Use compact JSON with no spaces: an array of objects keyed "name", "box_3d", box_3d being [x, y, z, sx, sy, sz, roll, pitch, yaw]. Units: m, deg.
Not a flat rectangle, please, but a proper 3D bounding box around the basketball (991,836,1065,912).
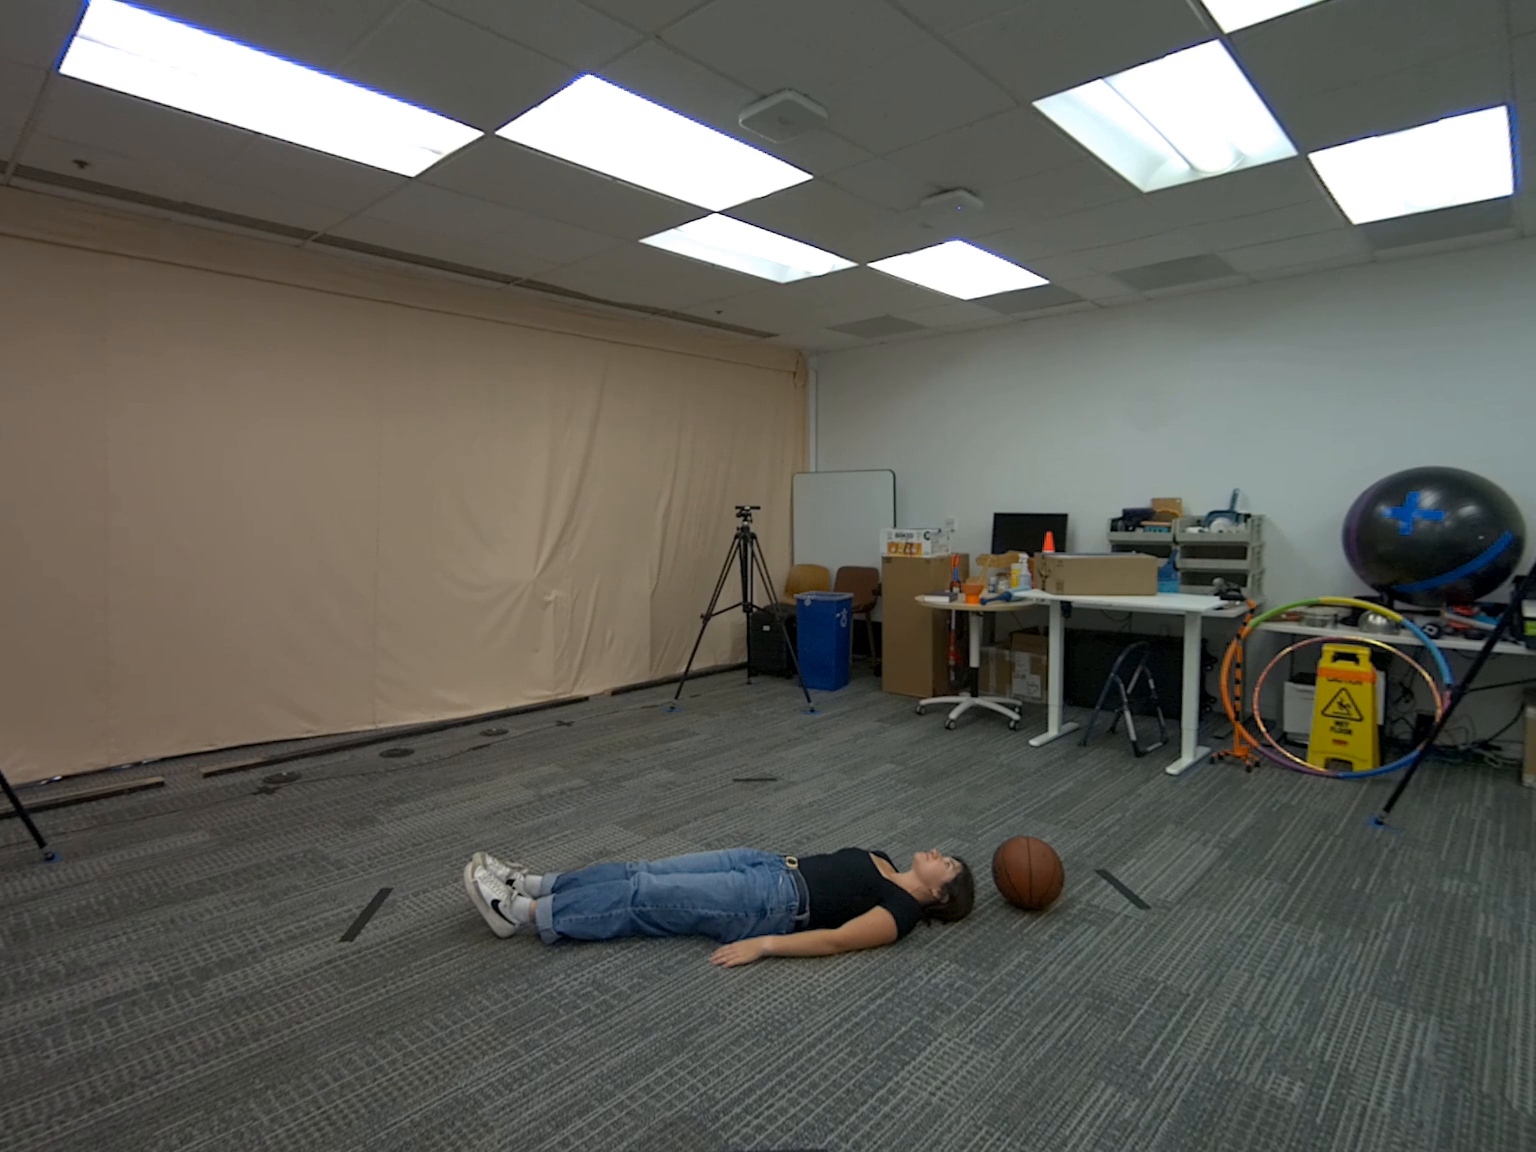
[{"name":"basketball","box_3d":[0.907,1.024,2.925,0.236,0.235,0.237,0,4,-2]}]
